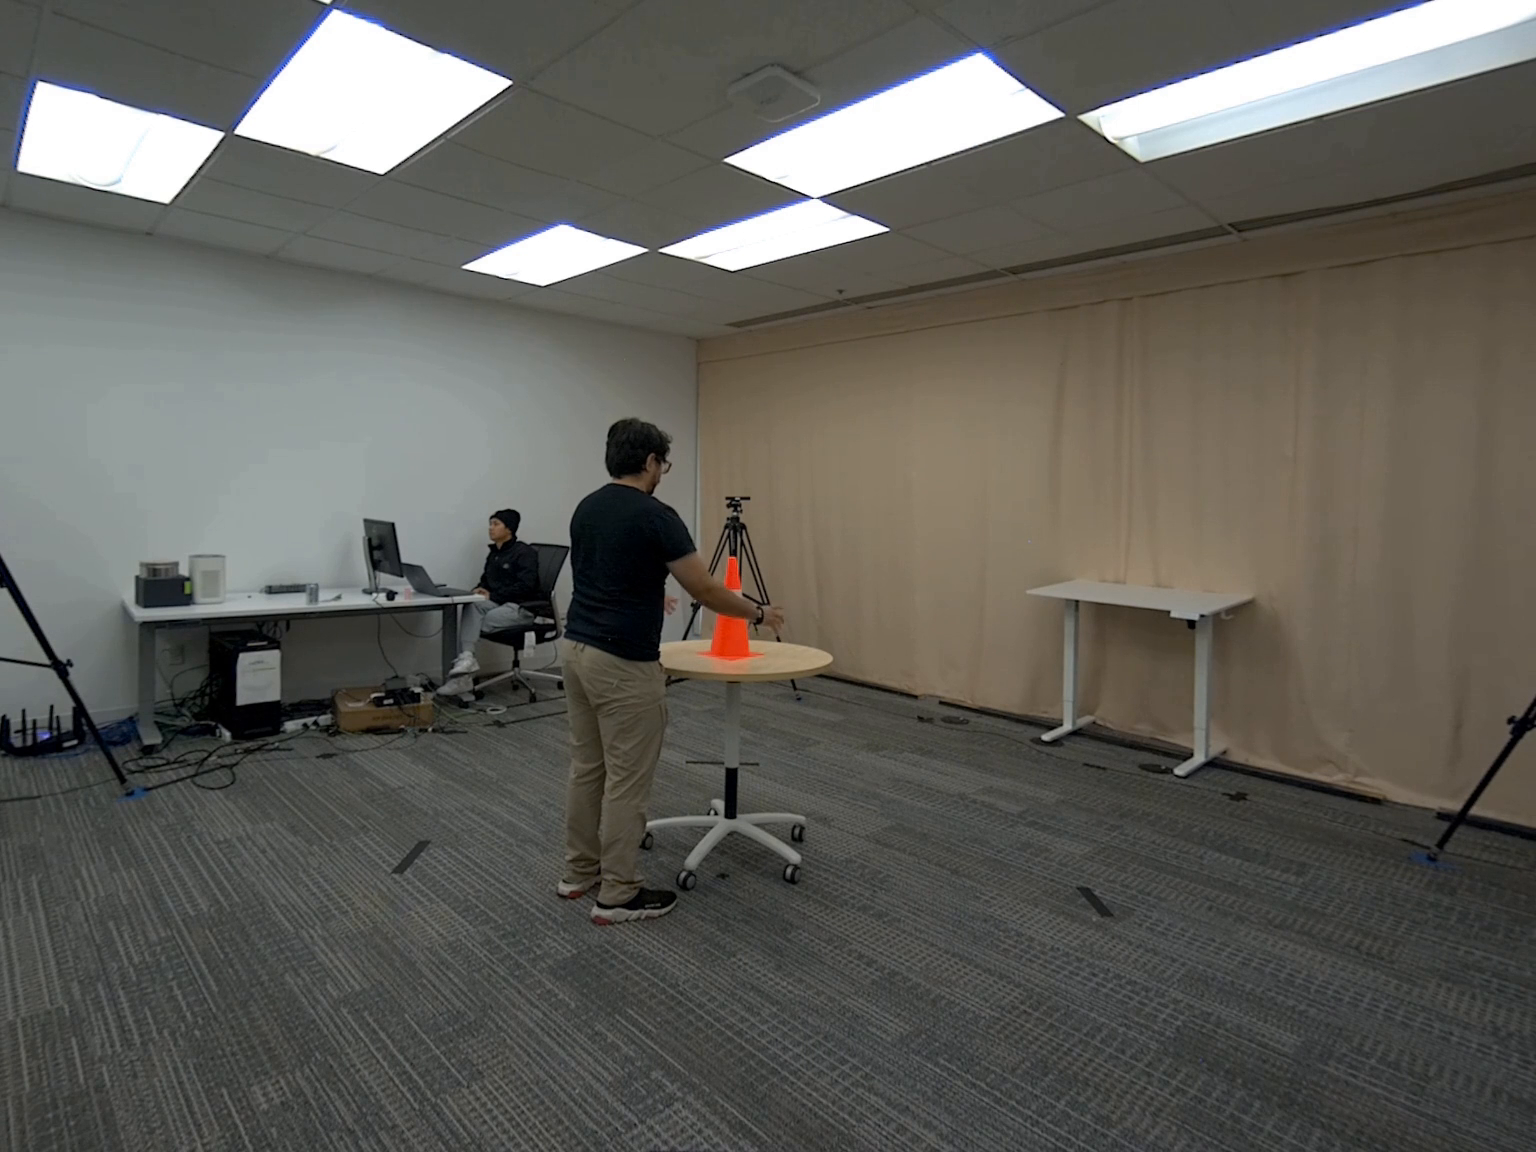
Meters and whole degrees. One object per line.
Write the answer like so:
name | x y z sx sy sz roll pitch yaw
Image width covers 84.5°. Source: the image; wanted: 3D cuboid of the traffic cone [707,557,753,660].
traffic cone | -0.148 0.121 3.281 0.208 0.383 0.200 6 5 39
